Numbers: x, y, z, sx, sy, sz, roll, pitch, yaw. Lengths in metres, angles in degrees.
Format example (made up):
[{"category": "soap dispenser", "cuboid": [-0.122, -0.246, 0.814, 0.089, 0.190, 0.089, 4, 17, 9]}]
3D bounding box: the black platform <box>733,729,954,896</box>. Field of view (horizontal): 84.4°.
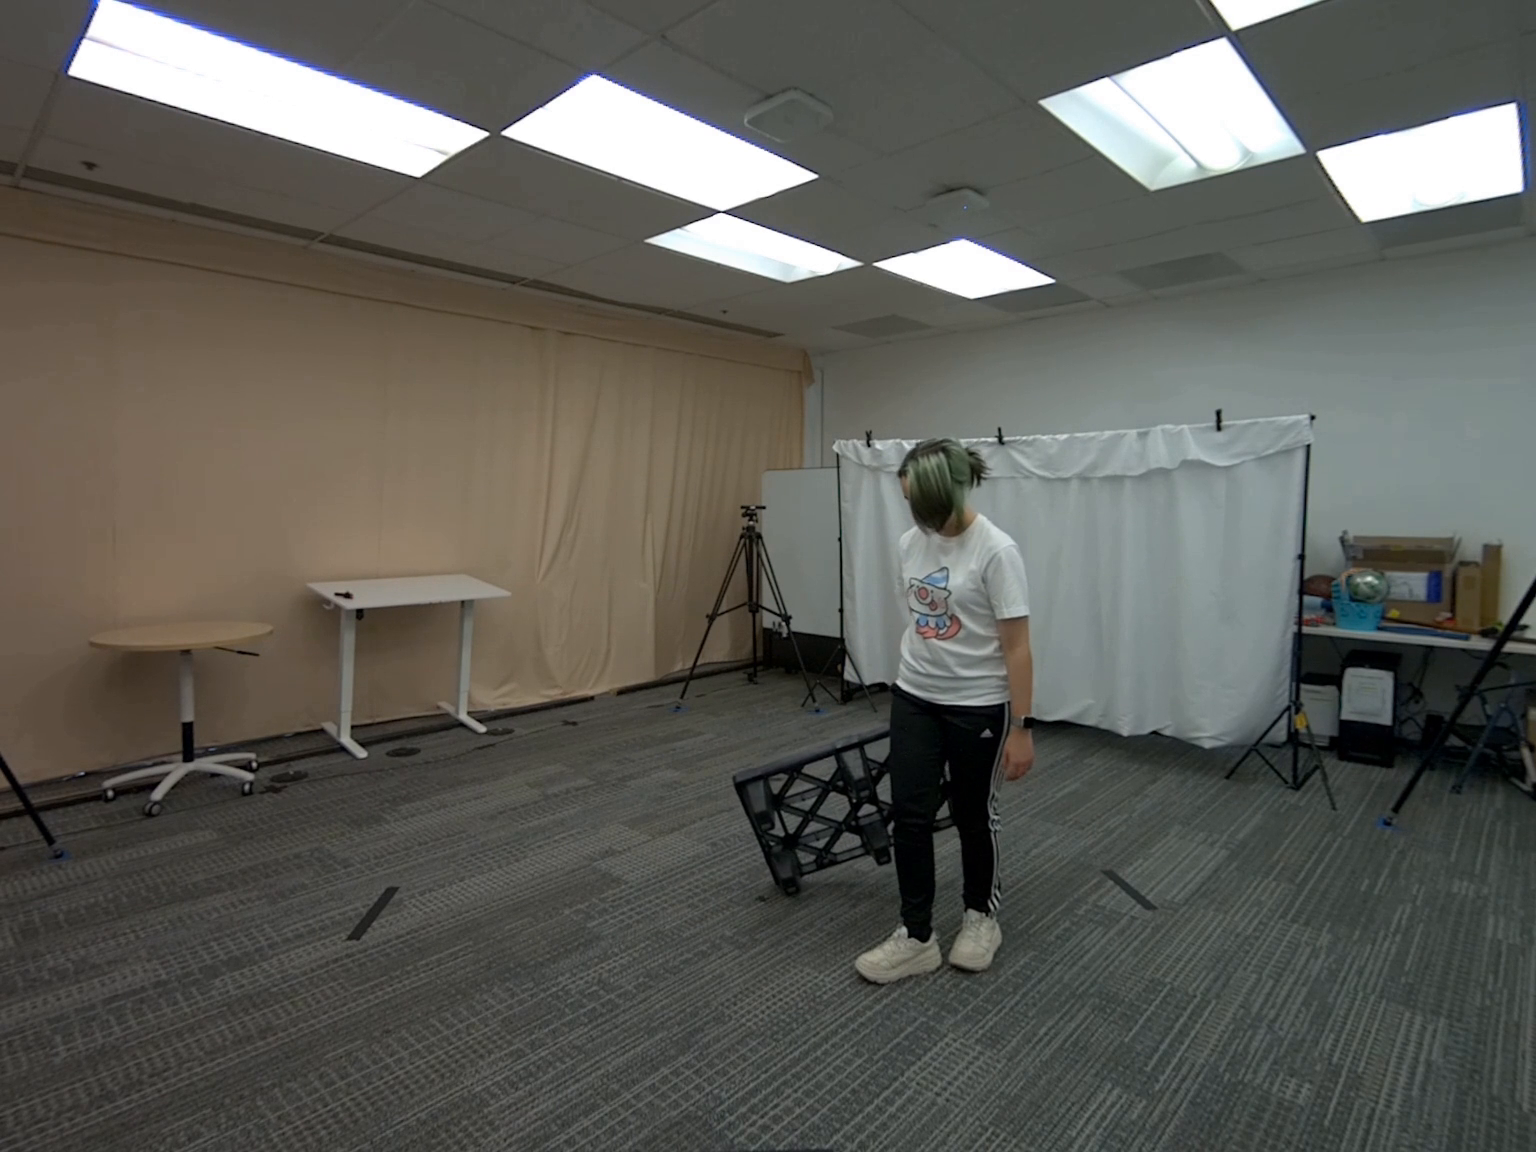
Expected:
[{"category": "black platform", "cuboid": [0.341, 0.804, 2.900, 0.806, 0.590, 0.147, -18, 32, 1]}]
